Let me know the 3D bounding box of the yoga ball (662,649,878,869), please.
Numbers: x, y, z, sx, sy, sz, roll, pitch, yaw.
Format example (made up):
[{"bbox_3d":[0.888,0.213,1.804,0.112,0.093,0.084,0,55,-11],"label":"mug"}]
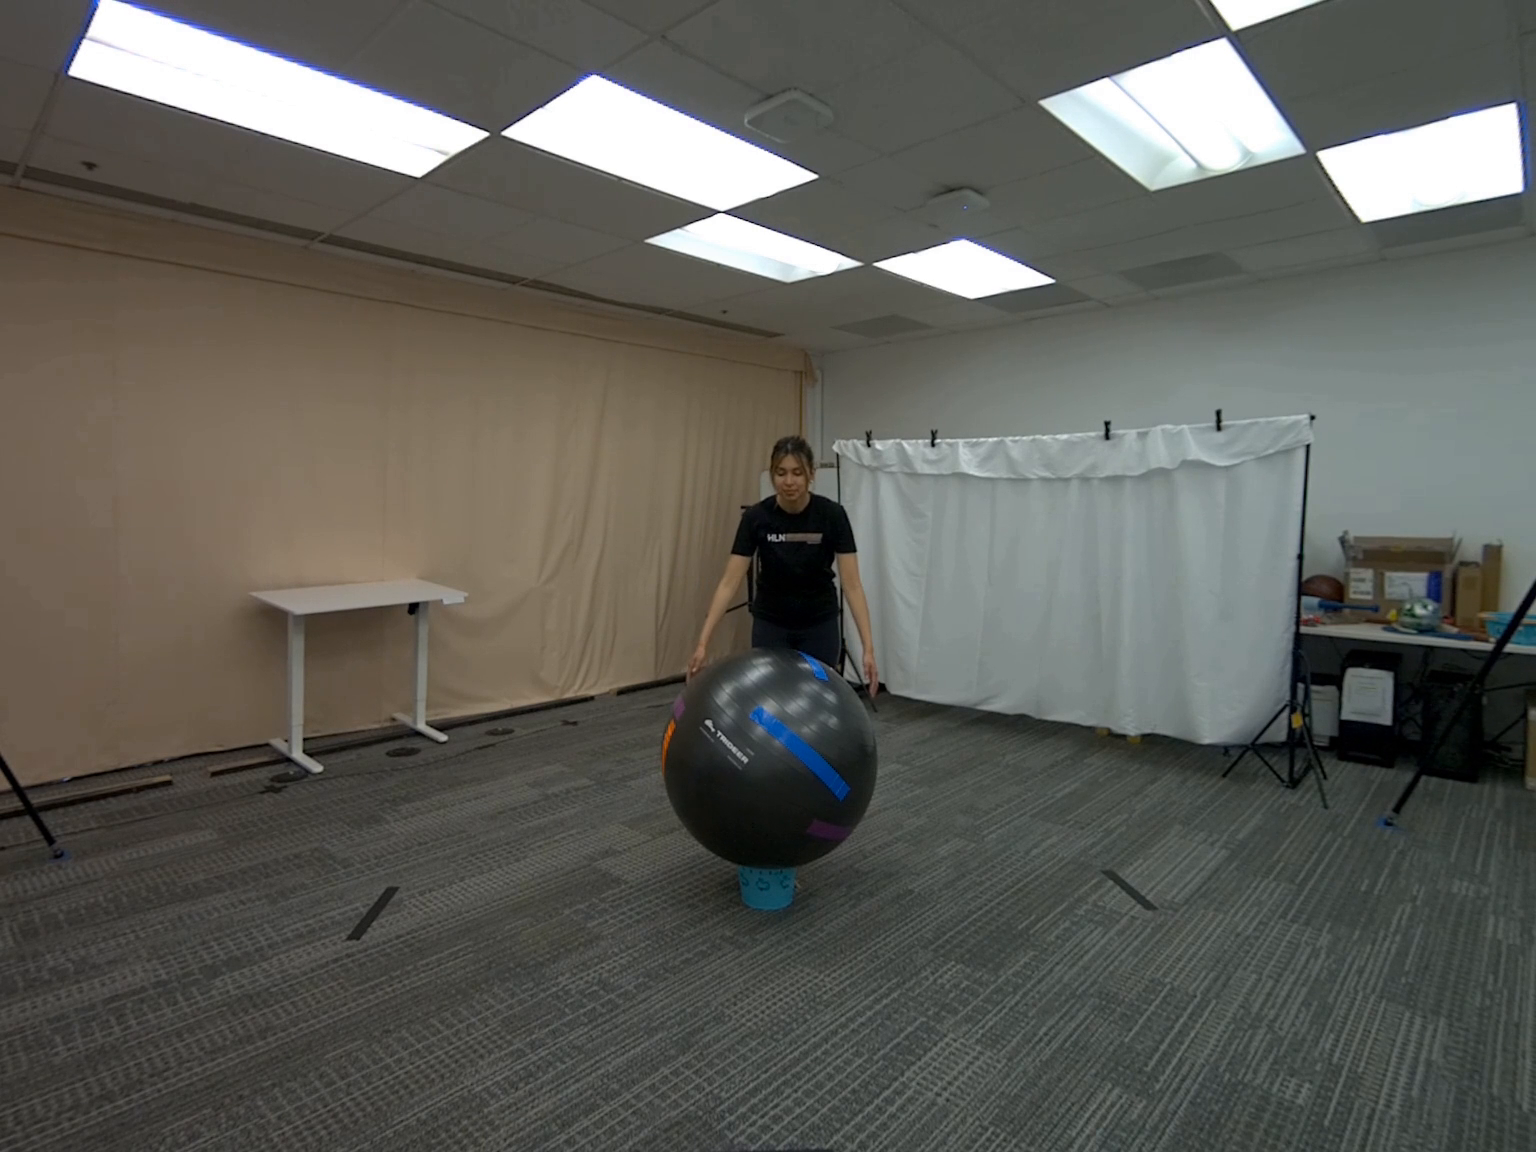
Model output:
[{"bbox_3d":[0.005,0.635,2.968,0.757,0.756,0.760,0,4,-2],"label":"yoga ball"}]
